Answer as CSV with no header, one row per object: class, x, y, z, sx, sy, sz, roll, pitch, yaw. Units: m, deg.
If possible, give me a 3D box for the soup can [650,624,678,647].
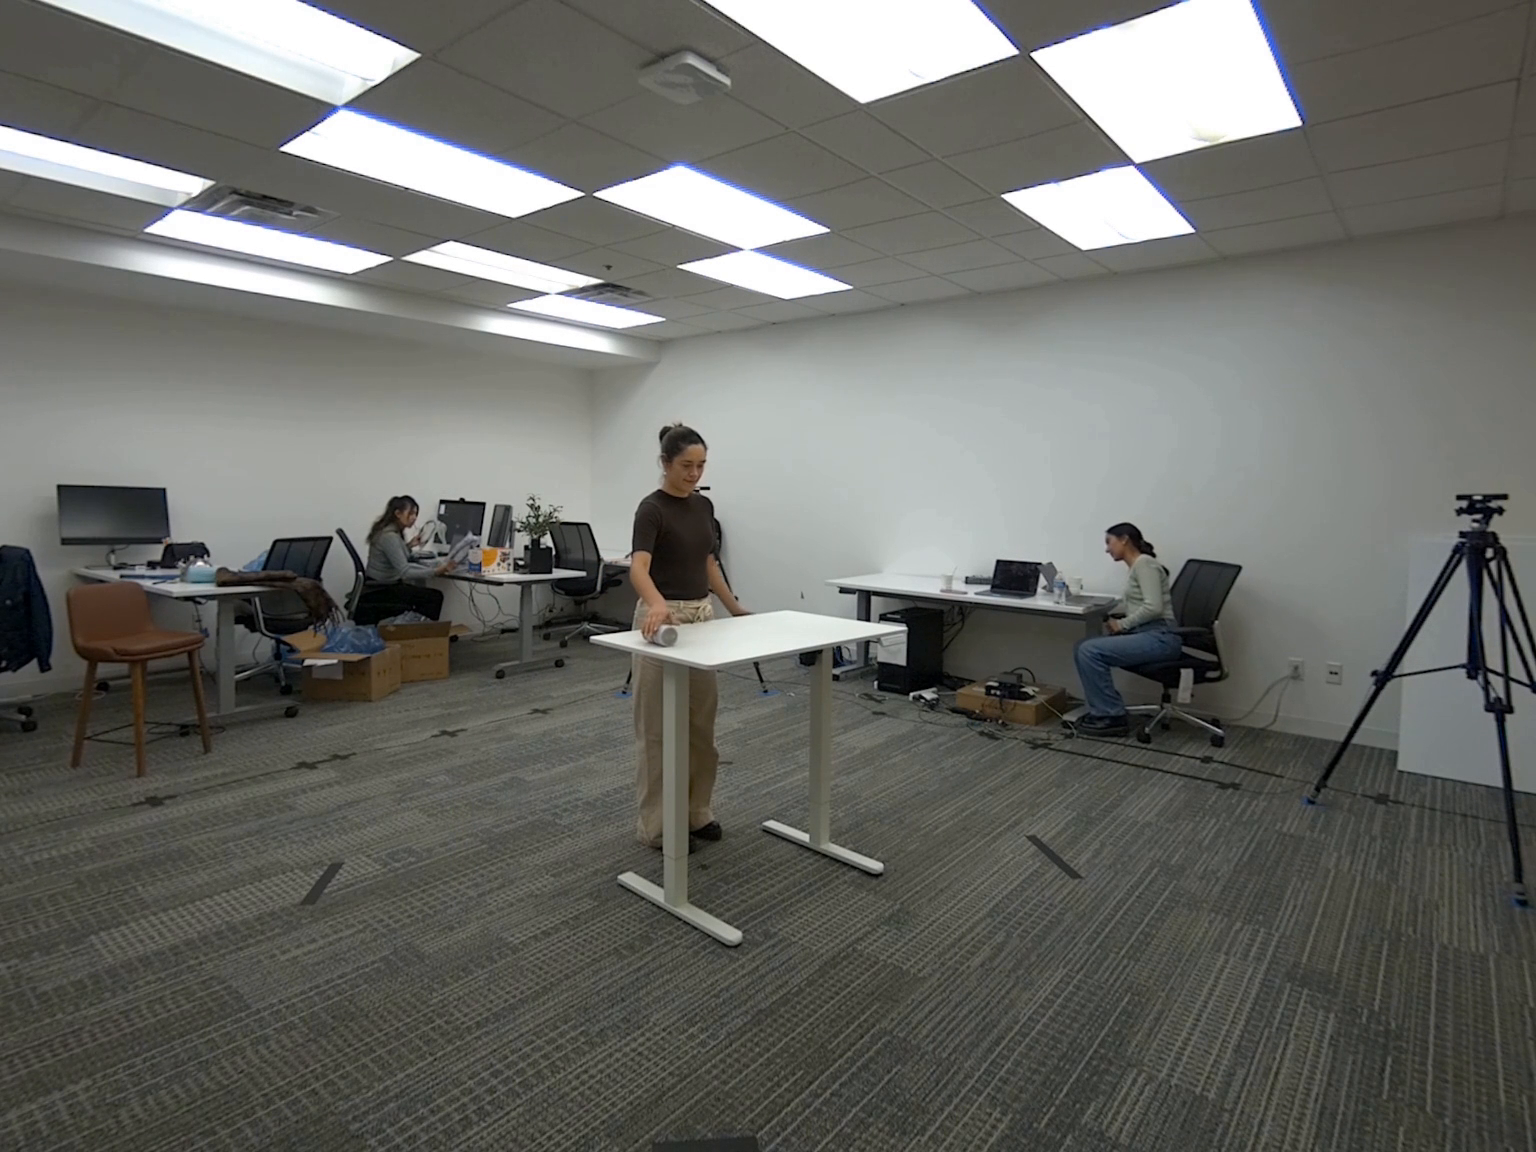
soup can,-0.346,0.183,2.741,0.066,0.067,0.124,-1,6,-19
